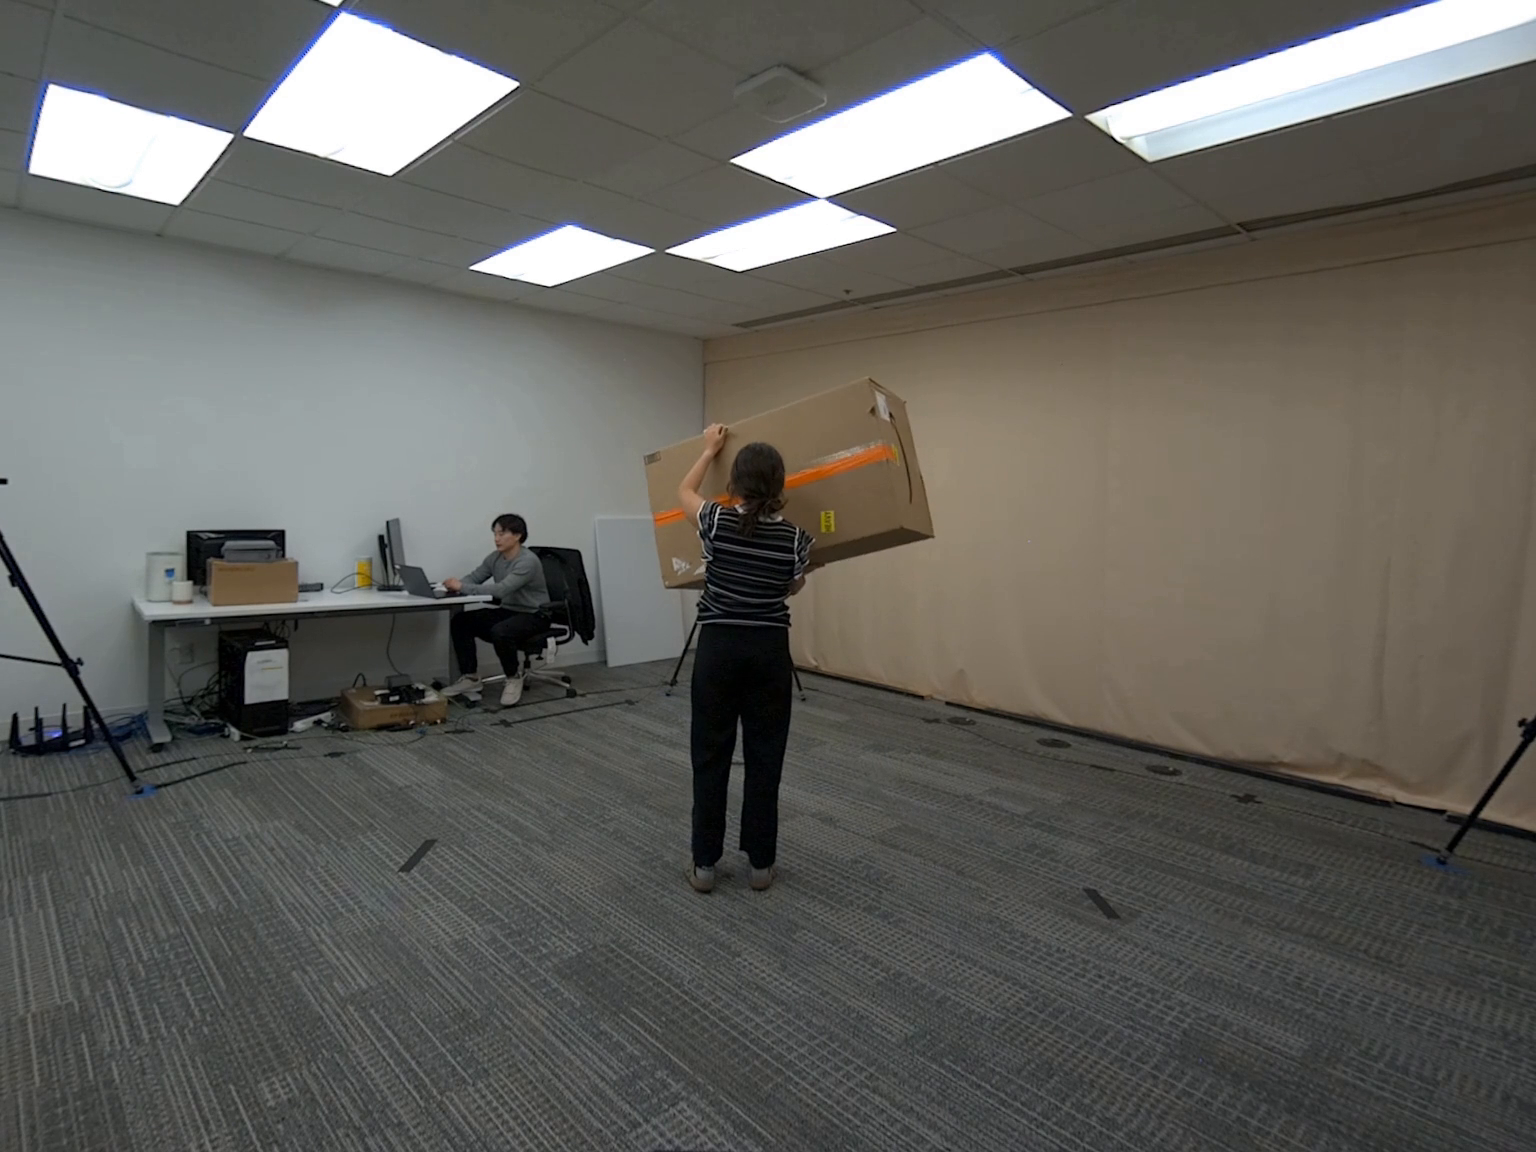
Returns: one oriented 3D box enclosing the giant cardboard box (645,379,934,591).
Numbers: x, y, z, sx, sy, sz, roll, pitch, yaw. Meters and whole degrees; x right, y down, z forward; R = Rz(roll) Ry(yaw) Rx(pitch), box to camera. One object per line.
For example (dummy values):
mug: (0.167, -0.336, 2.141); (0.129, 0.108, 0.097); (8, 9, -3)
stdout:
giant cardboard box: (0.058, -0.331, 3.410); (1.040, 0.582, 0.417); (-15, -10, 27)
